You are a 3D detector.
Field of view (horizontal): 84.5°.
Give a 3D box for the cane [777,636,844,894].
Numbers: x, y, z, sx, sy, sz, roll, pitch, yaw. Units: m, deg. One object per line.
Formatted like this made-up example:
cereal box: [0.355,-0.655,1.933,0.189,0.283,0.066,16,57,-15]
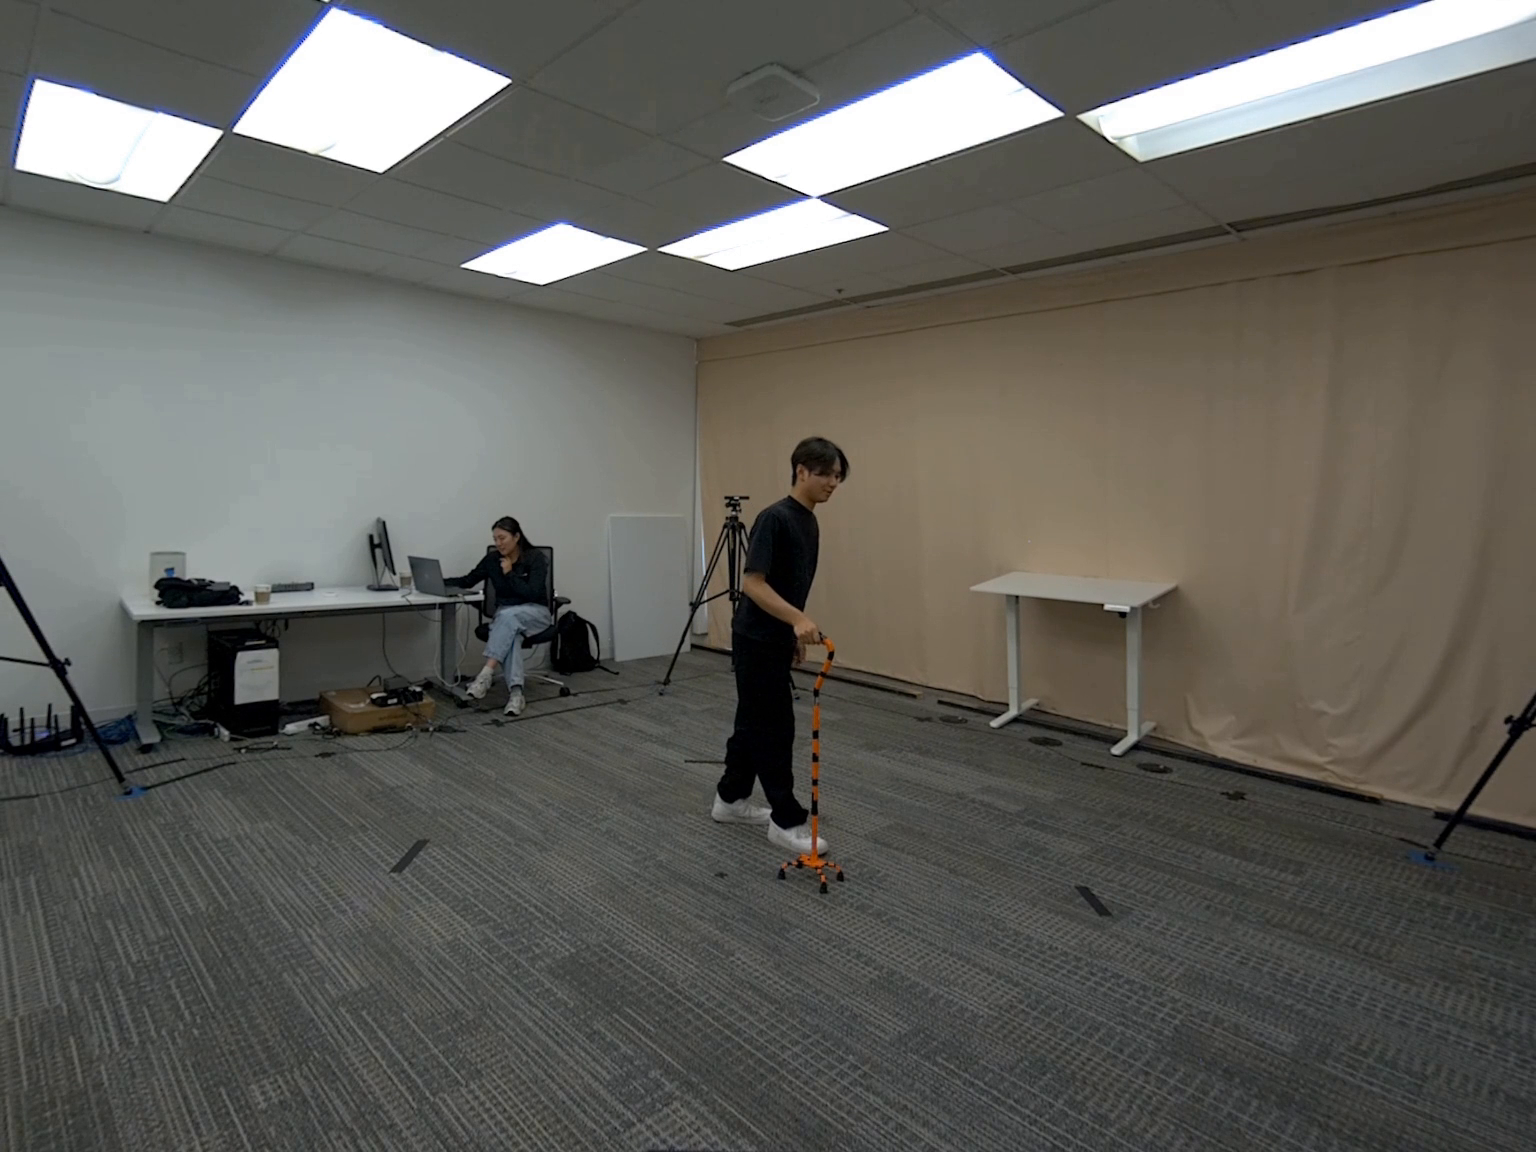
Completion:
cane: [0.162,0.662,3.053,0.211,0.905,0.148,5,5,31]
